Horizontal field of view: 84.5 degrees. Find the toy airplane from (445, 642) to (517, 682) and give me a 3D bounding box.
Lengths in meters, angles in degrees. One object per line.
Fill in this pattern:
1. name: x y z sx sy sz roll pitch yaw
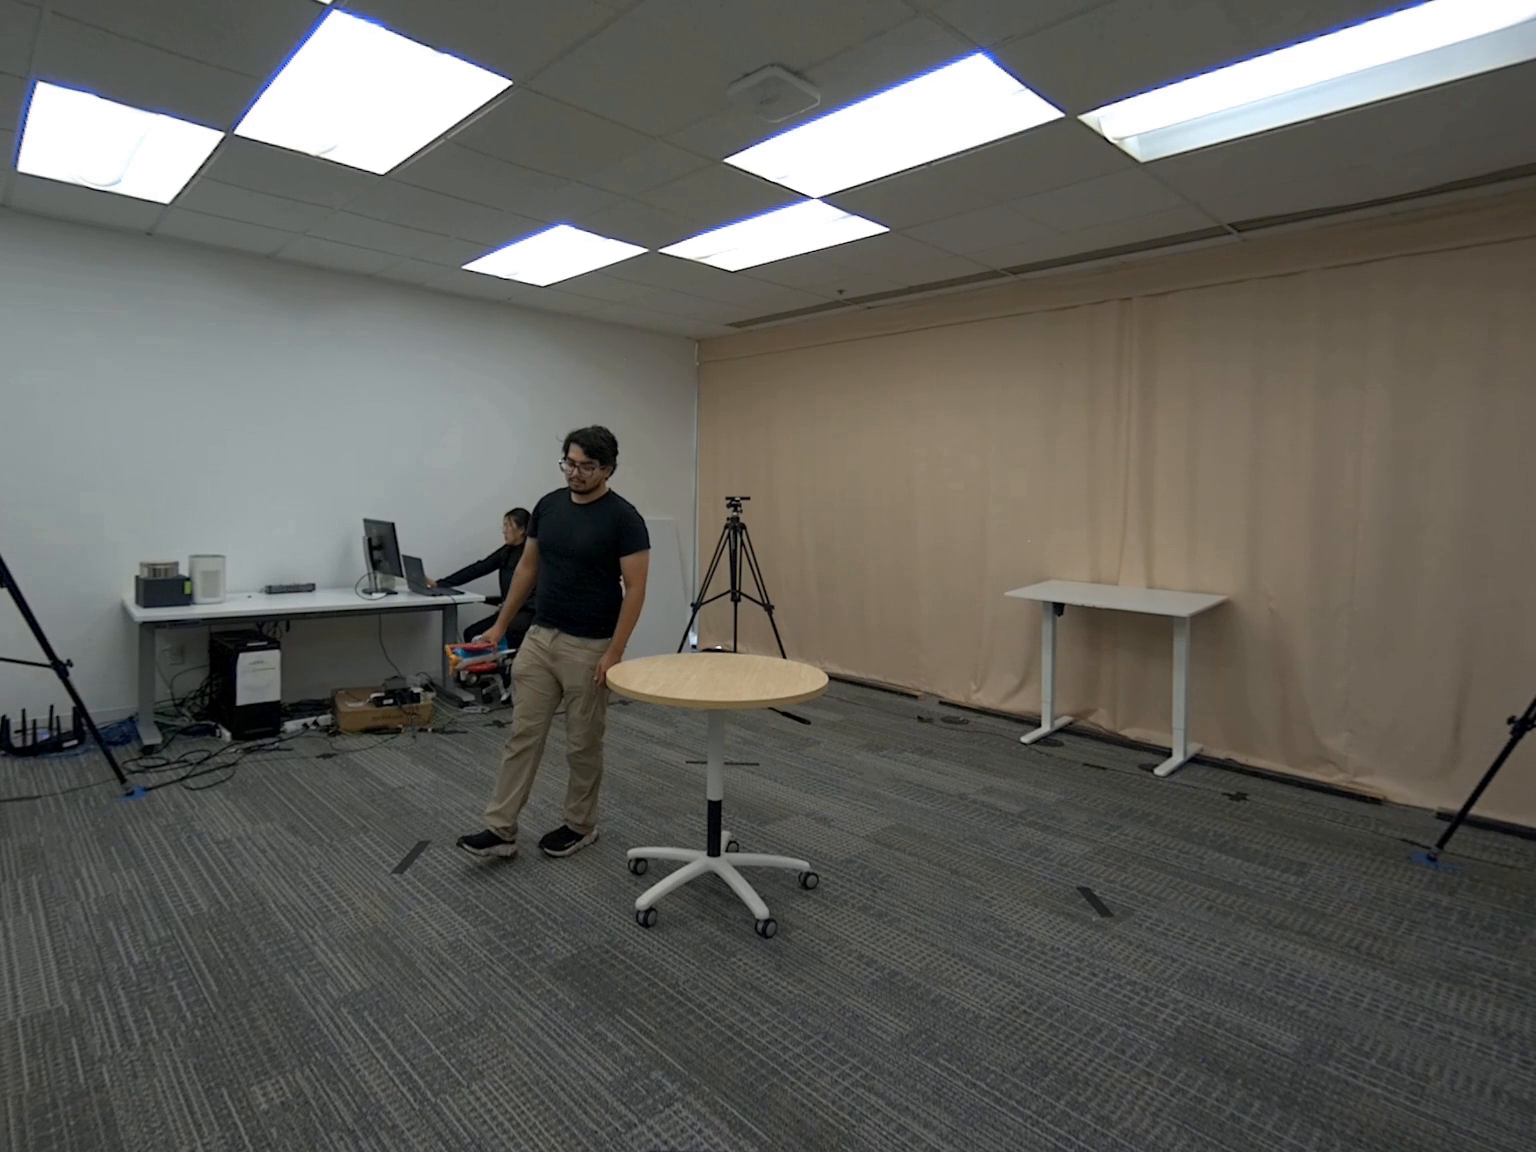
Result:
1. toy airplane: -1.139 0.319 3.296 0.253 0.155 0.260 -11 13 12
